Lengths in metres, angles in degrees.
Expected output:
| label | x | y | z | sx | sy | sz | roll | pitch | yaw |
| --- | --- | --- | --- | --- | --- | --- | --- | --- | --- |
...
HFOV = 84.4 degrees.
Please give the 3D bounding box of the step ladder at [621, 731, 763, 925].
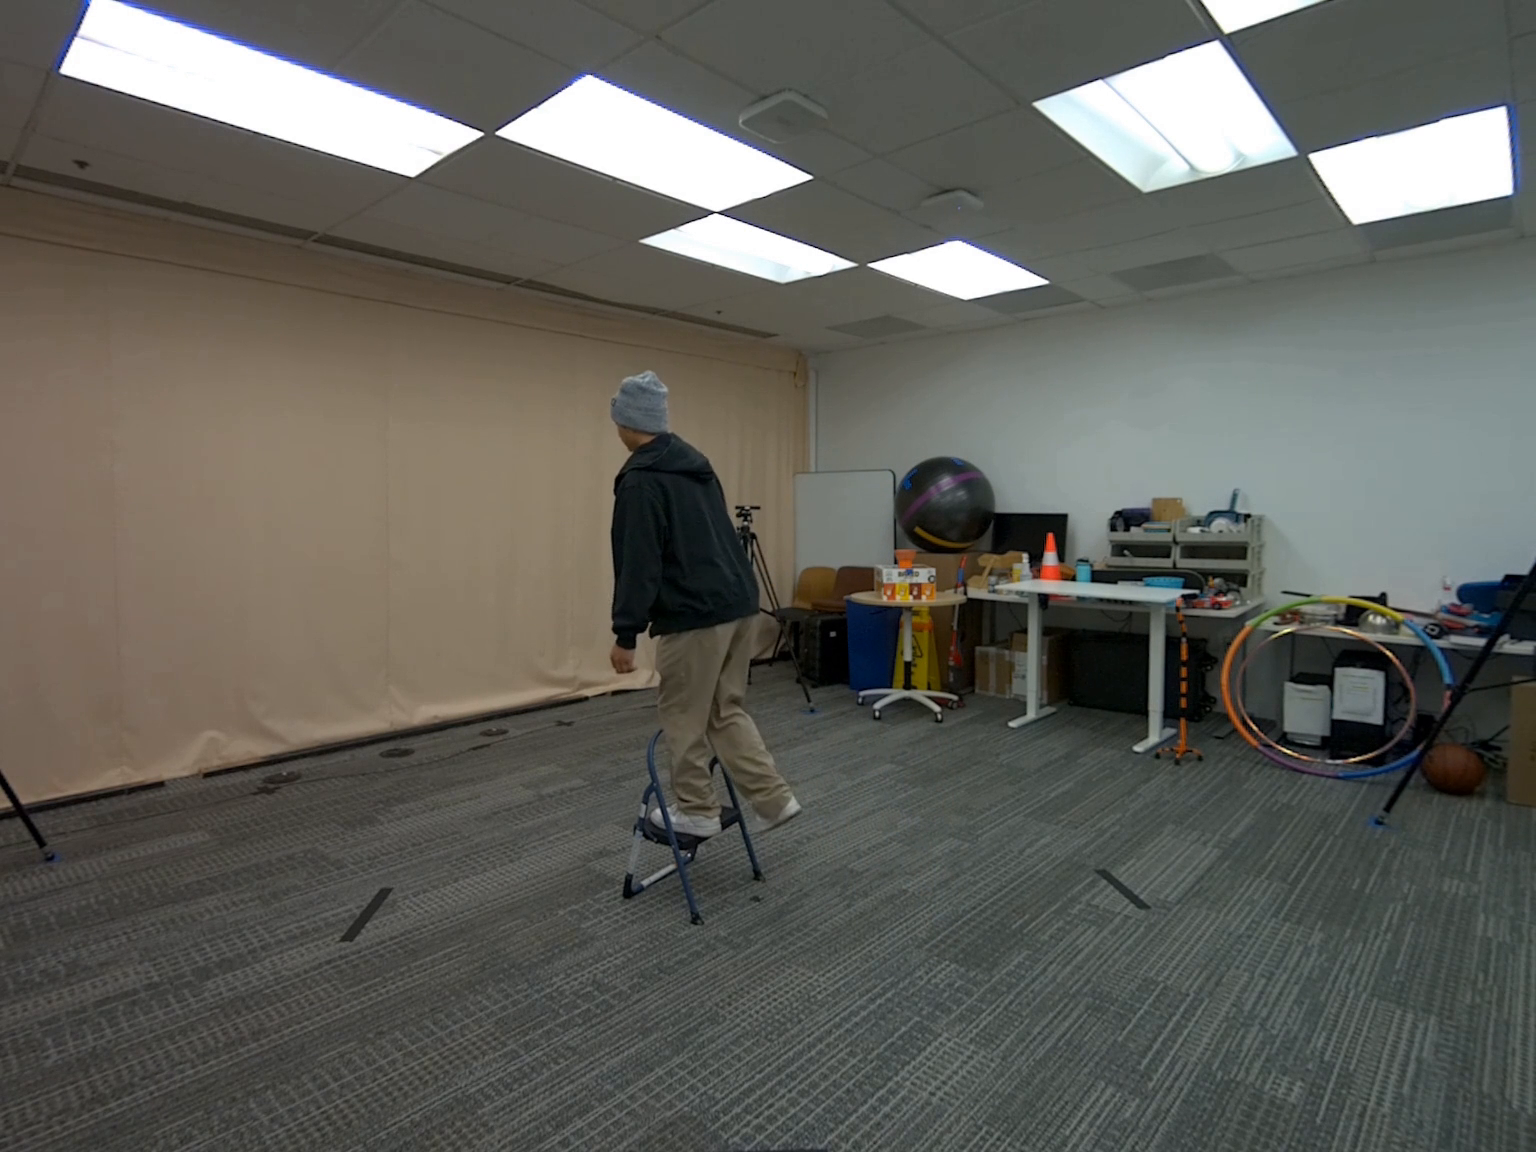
| label | x | y | z | sx | sy | sz | roll | pitch | yaw |
| --- | --- | --- | --- | --- | --- | --- | --- | --- | --- |
| step ladder | -0.270 | 0.838 | 3.055 | 0.360 | 0.605 | 0.419 | 1 | 4 | 32 |
